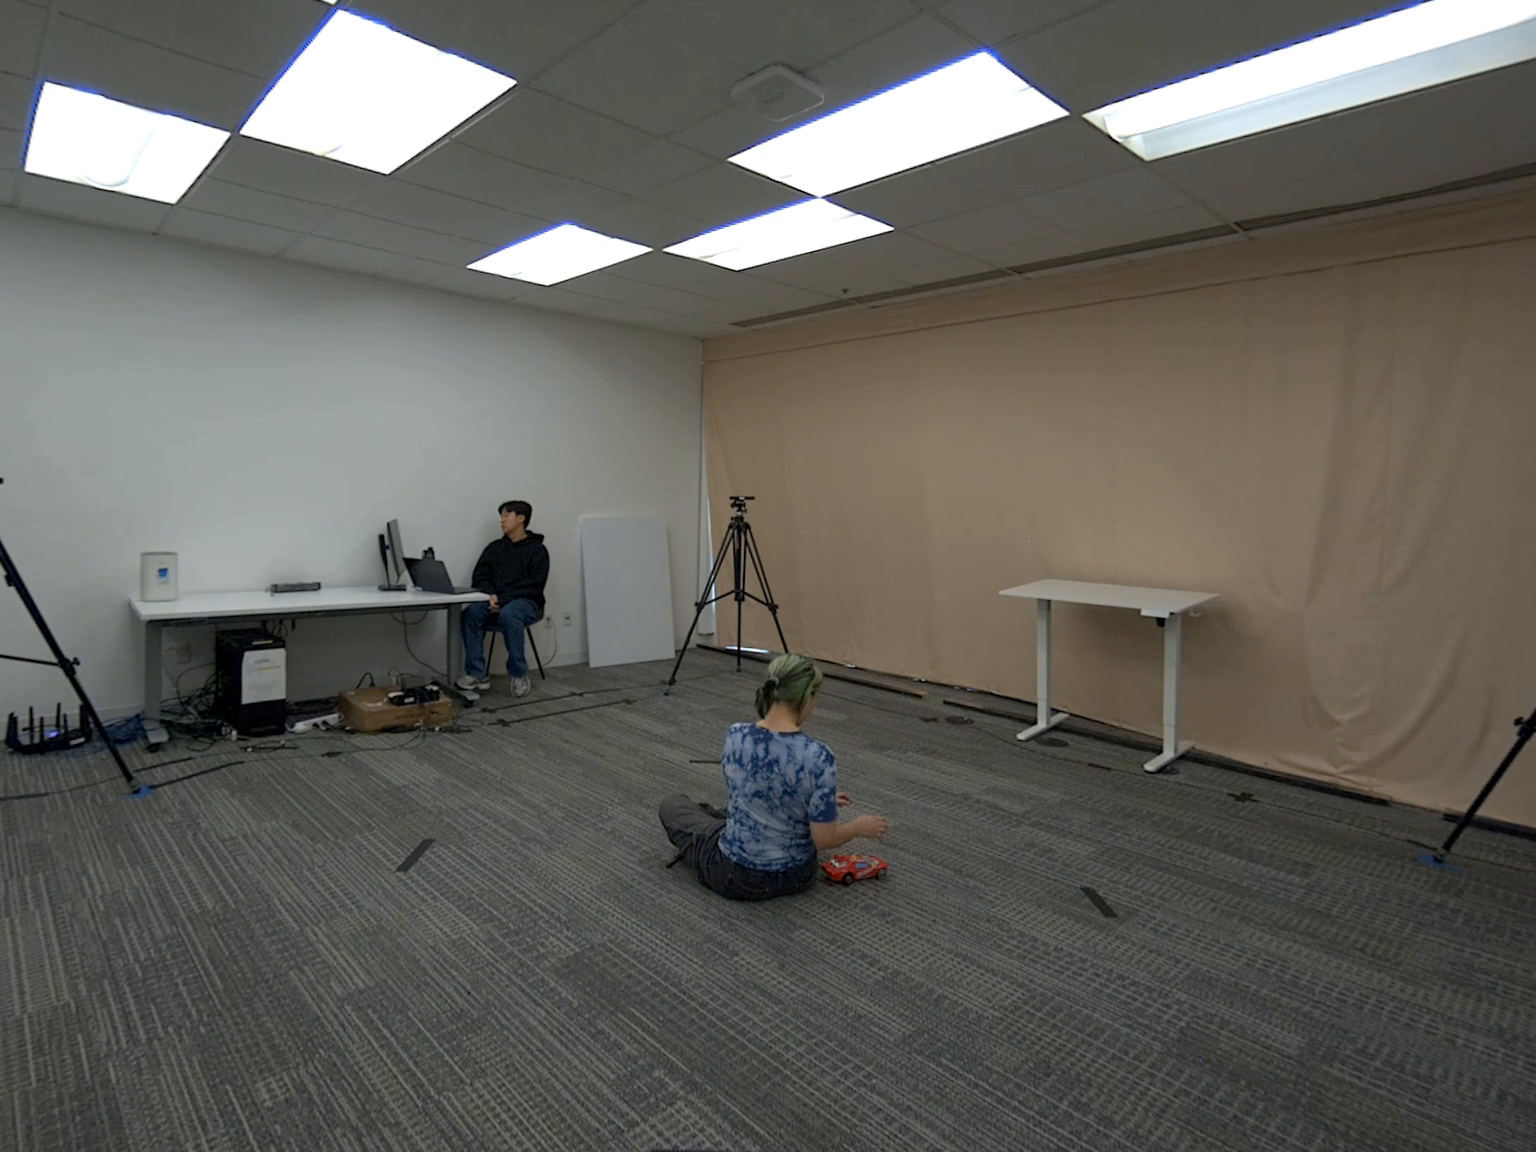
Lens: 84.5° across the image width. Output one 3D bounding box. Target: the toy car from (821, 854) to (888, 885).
[{"bbox_3d":[0.303,1.082,3.110,0.249,0.083,0.133,12,0,-23],"label":"toy car"}]
